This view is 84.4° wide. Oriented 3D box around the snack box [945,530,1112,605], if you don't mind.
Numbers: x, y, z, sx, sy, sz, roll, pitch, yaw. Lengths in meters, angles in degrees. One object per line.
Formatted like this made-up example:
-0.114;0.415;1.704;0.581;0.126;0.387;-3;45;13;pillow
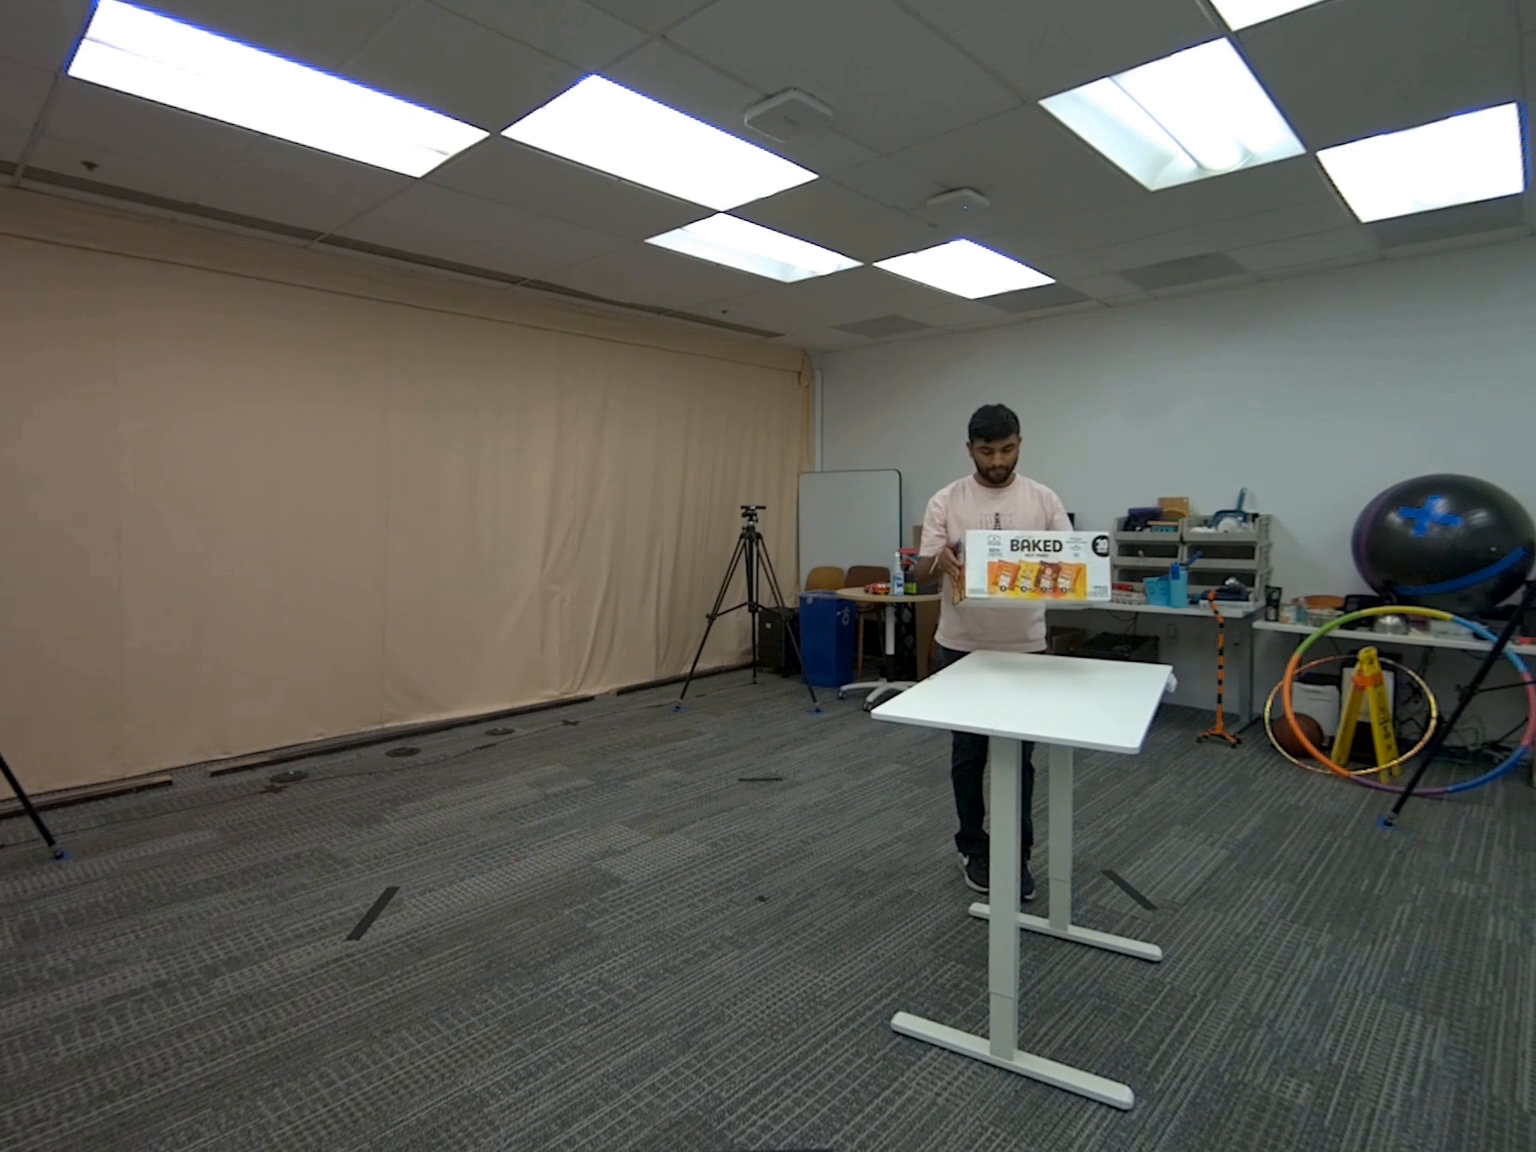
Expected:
0.798;-0.012;2.619;0.409;0.206;0.336;1;-6;7;snack box
